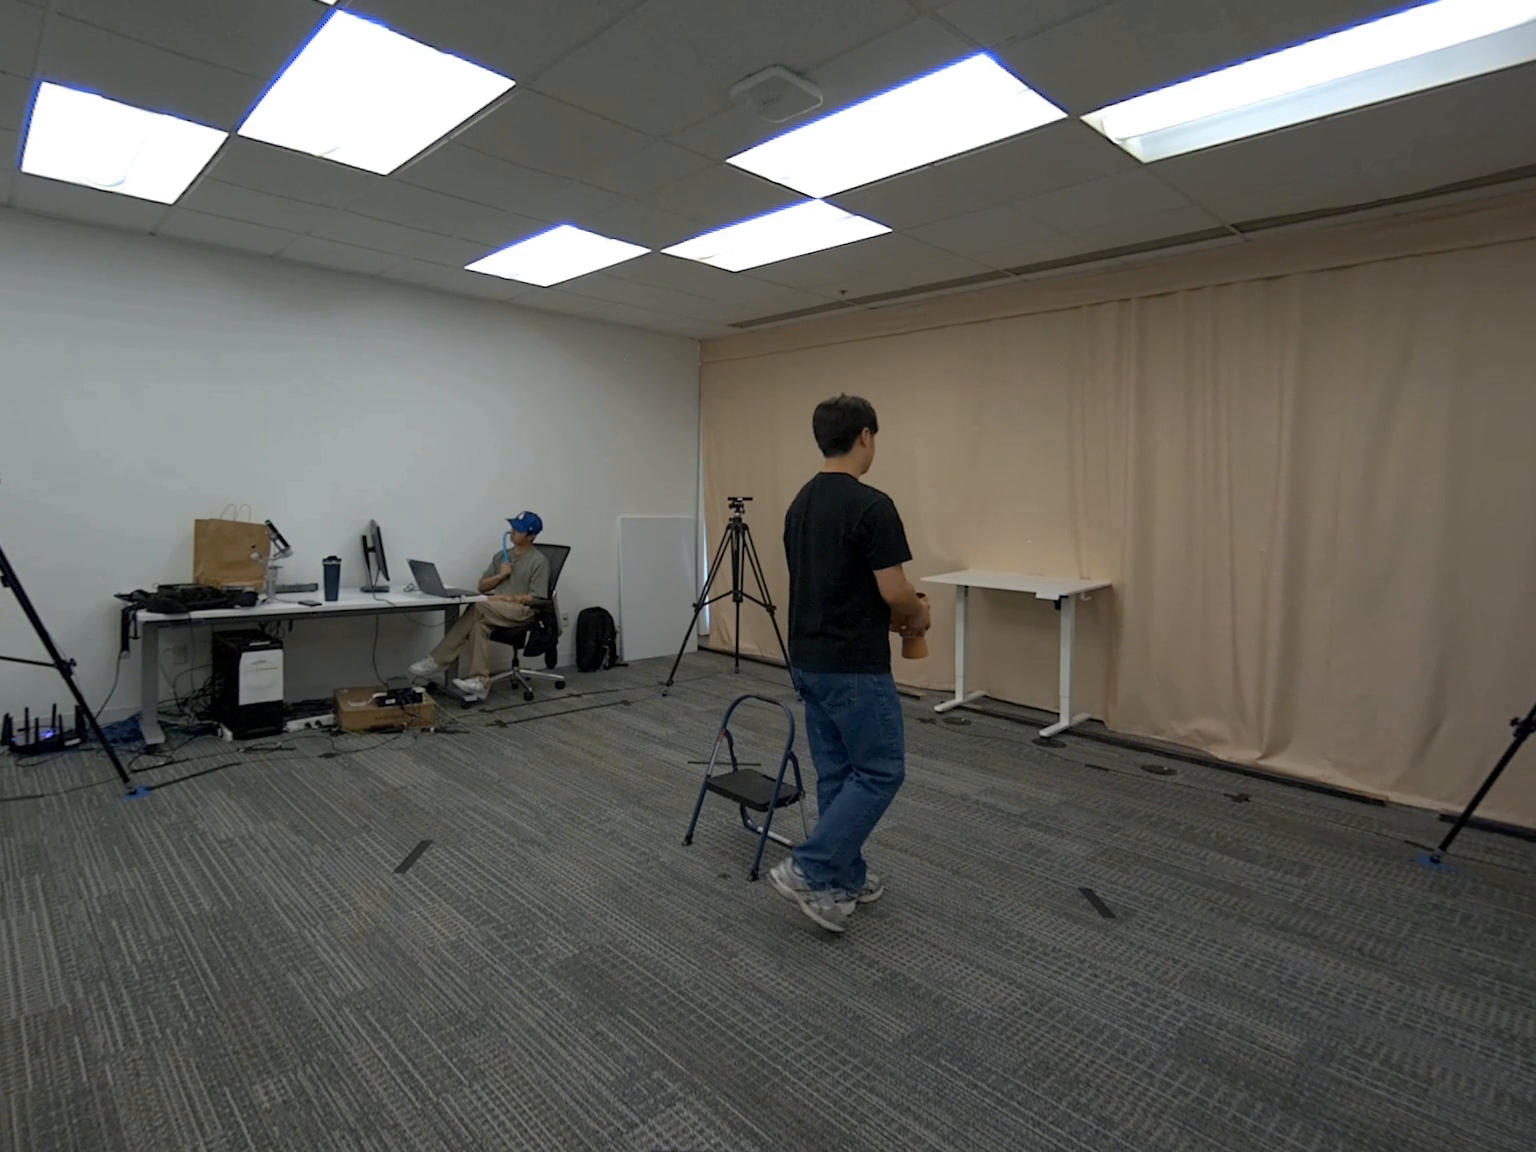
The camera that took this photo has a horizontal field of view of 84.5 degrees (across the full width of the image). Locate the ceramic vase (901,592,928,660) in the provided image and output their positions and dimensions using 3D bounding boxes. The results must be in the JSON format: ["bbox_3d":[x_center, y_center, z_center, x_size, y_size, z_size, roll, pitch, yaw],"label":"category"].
[{"bbox_3d":[0.506,0.181,3.027,0.137,0.218,0.157,-2,11,25],"label":"ceramic vase"}]
